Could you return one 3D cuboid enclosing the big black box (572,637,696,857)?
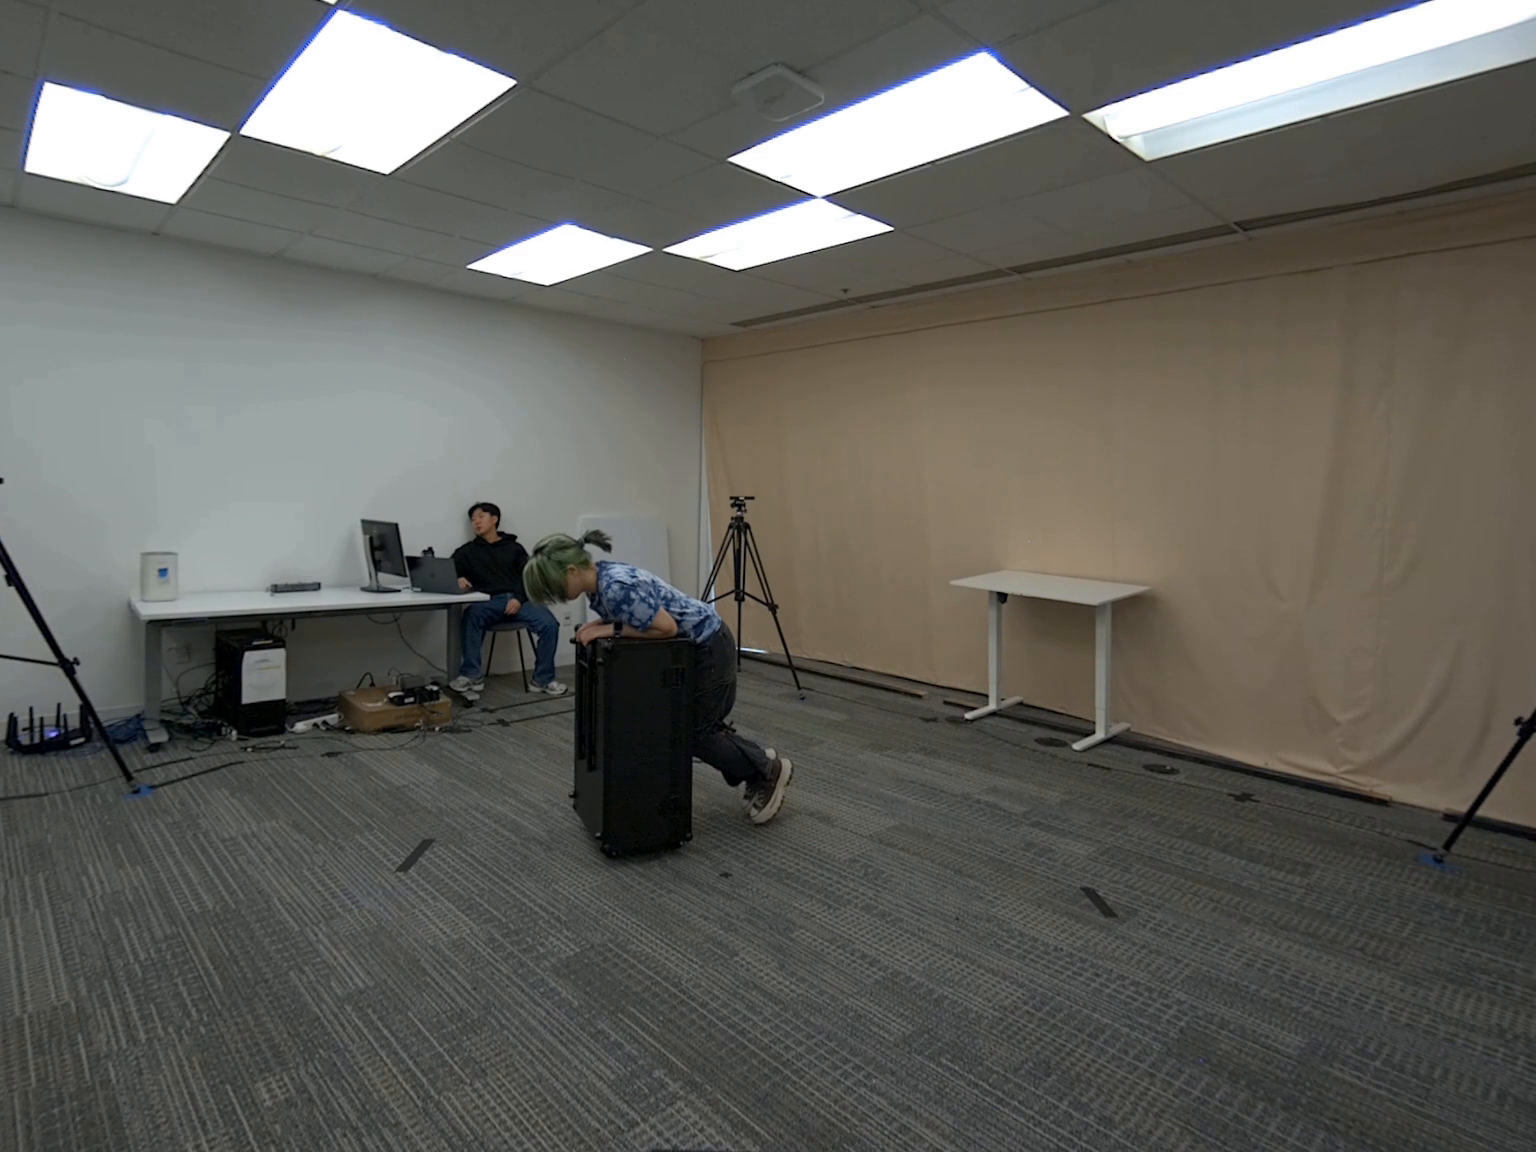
[{"bbox_3d":[-0.568,0.597,3.361,0.389,0.859,0.532,0,4,-25],"label":"big black box"}]
